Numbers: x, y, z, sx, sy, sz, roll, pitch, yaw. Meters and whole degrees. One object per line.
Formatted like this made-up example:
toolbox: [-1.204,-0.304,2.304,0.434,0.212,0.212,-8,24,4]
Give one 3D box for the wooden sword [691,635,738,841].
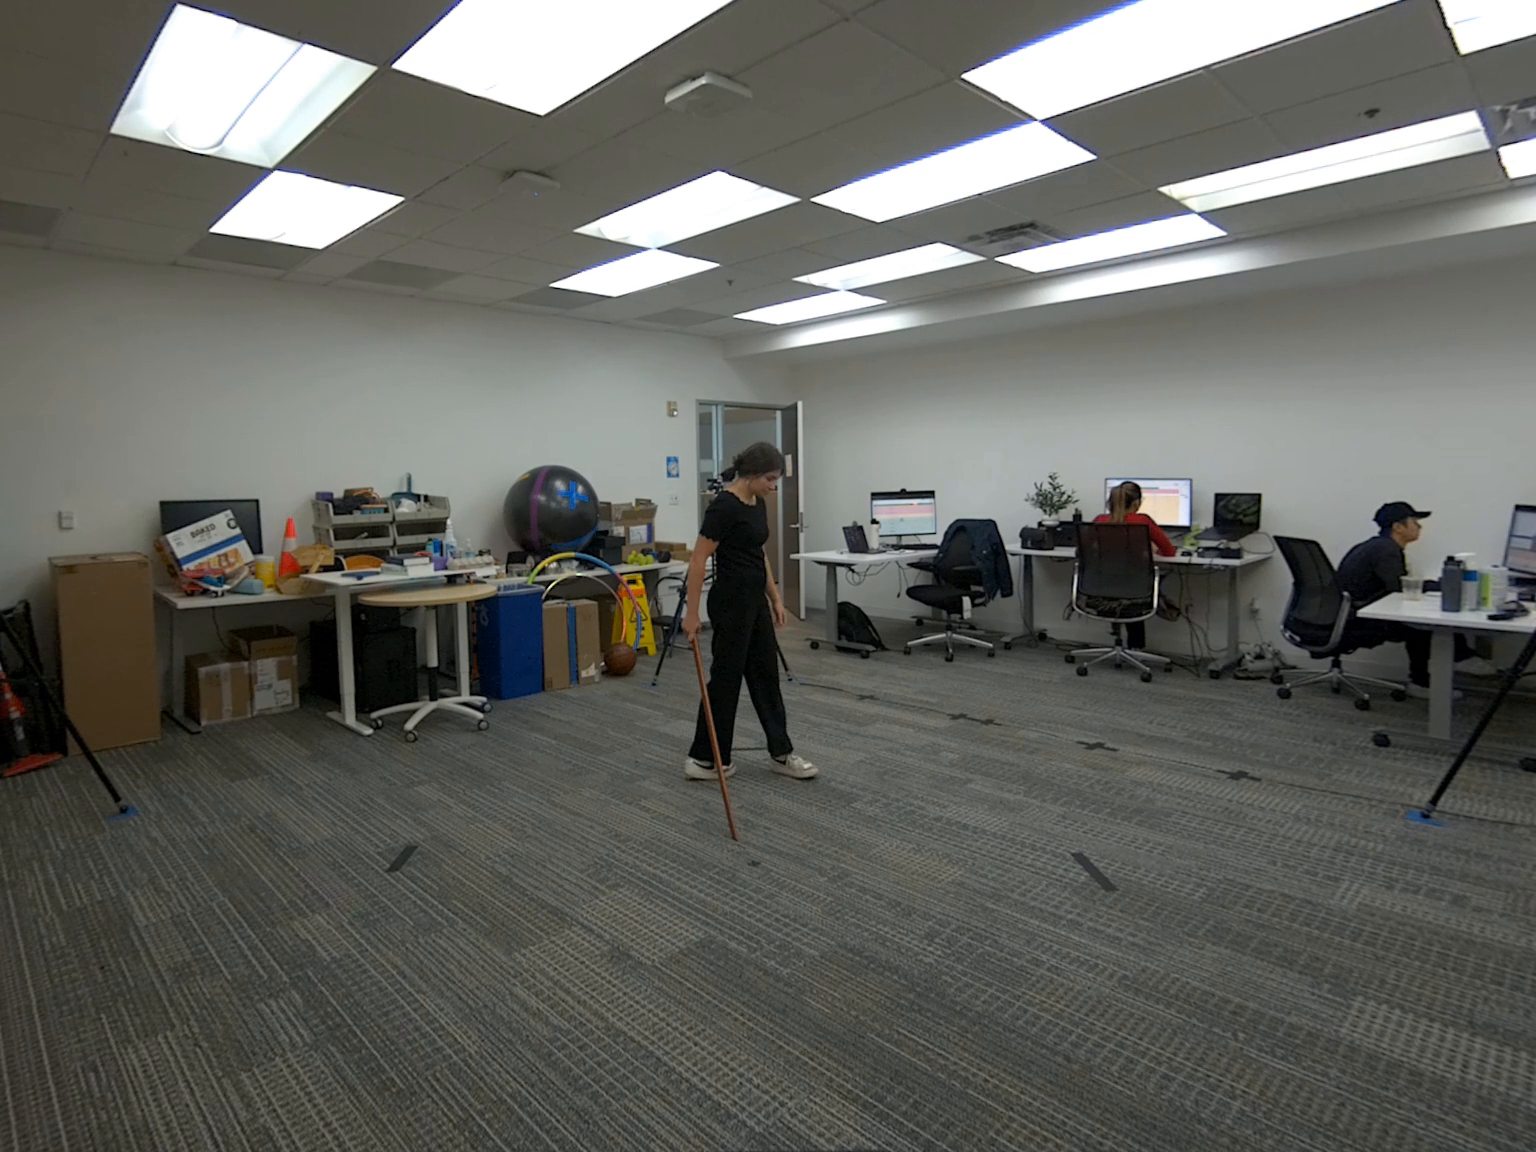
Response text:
wooden sword: [-0.236,0.614,3.604,0.024,1.058,0.049,-24,-36,10]
